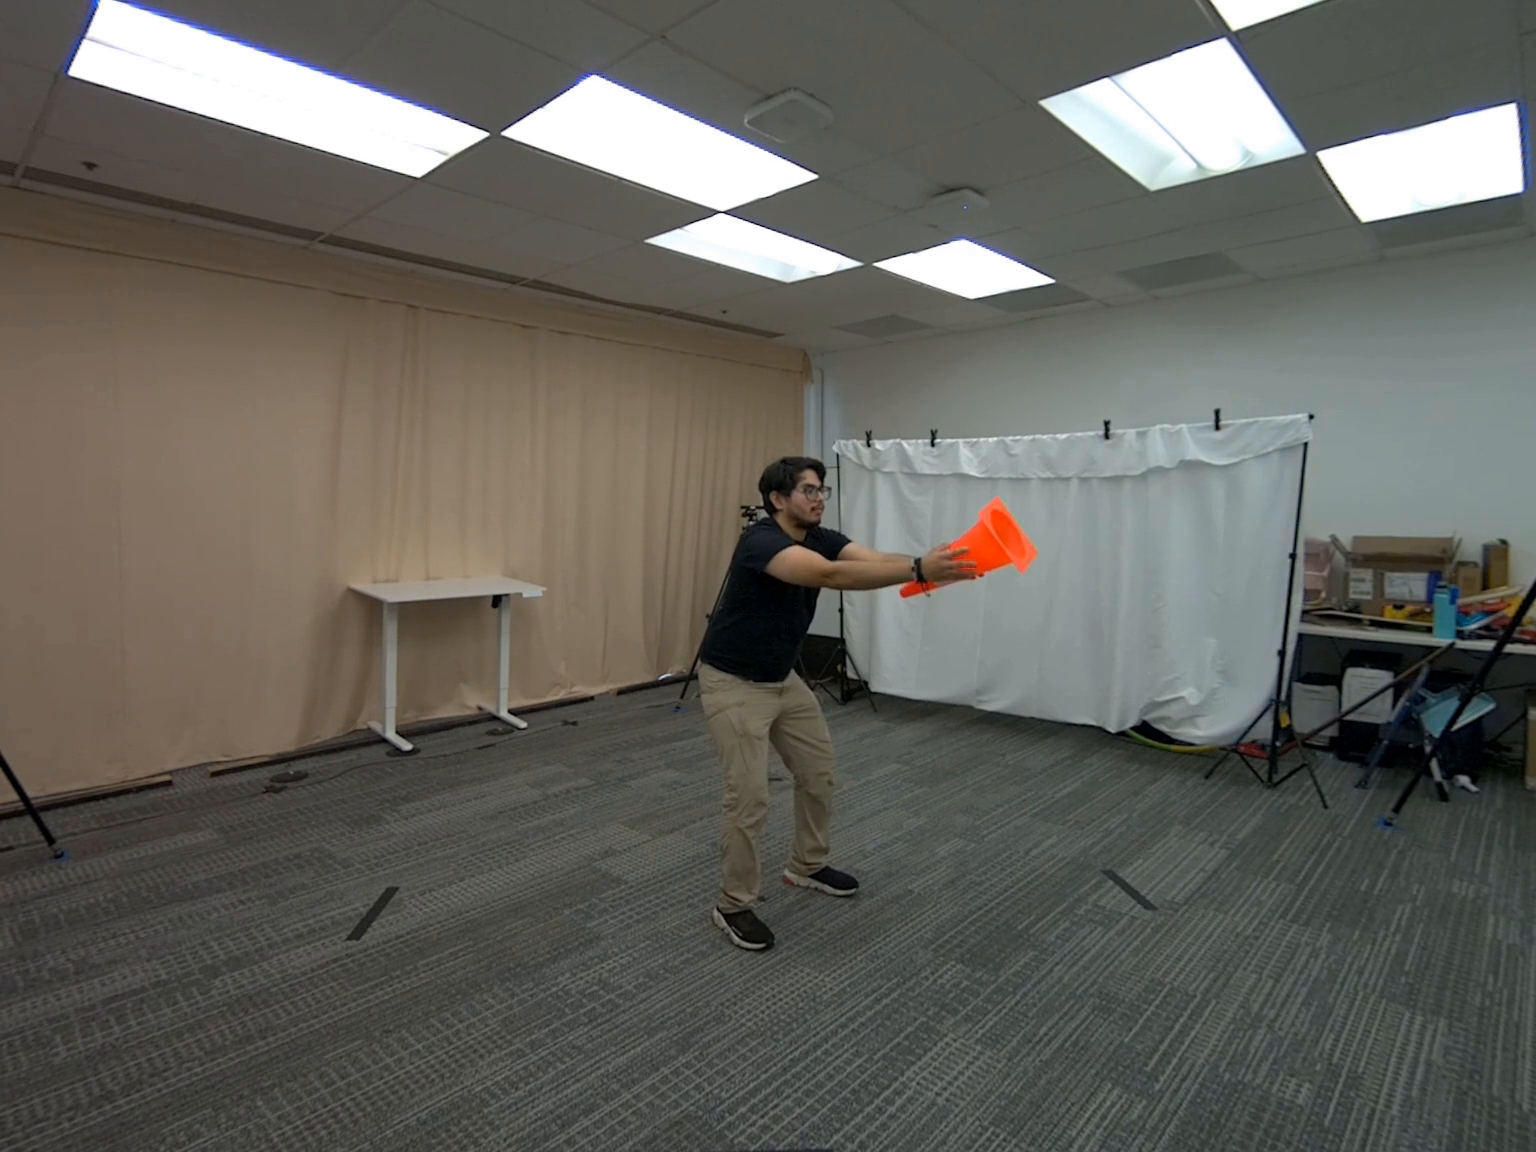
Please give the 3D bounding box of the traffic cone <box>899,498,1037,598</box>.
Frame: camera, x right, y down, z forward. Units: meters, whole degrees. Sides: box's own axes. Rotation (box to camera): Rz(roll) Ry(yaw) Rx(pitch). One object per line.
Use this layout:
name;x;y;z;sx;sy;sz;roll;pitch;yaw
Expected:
traffic cone;0.544;-0.030;2.432;0.390;0.204;0.201;-33;-2;37
